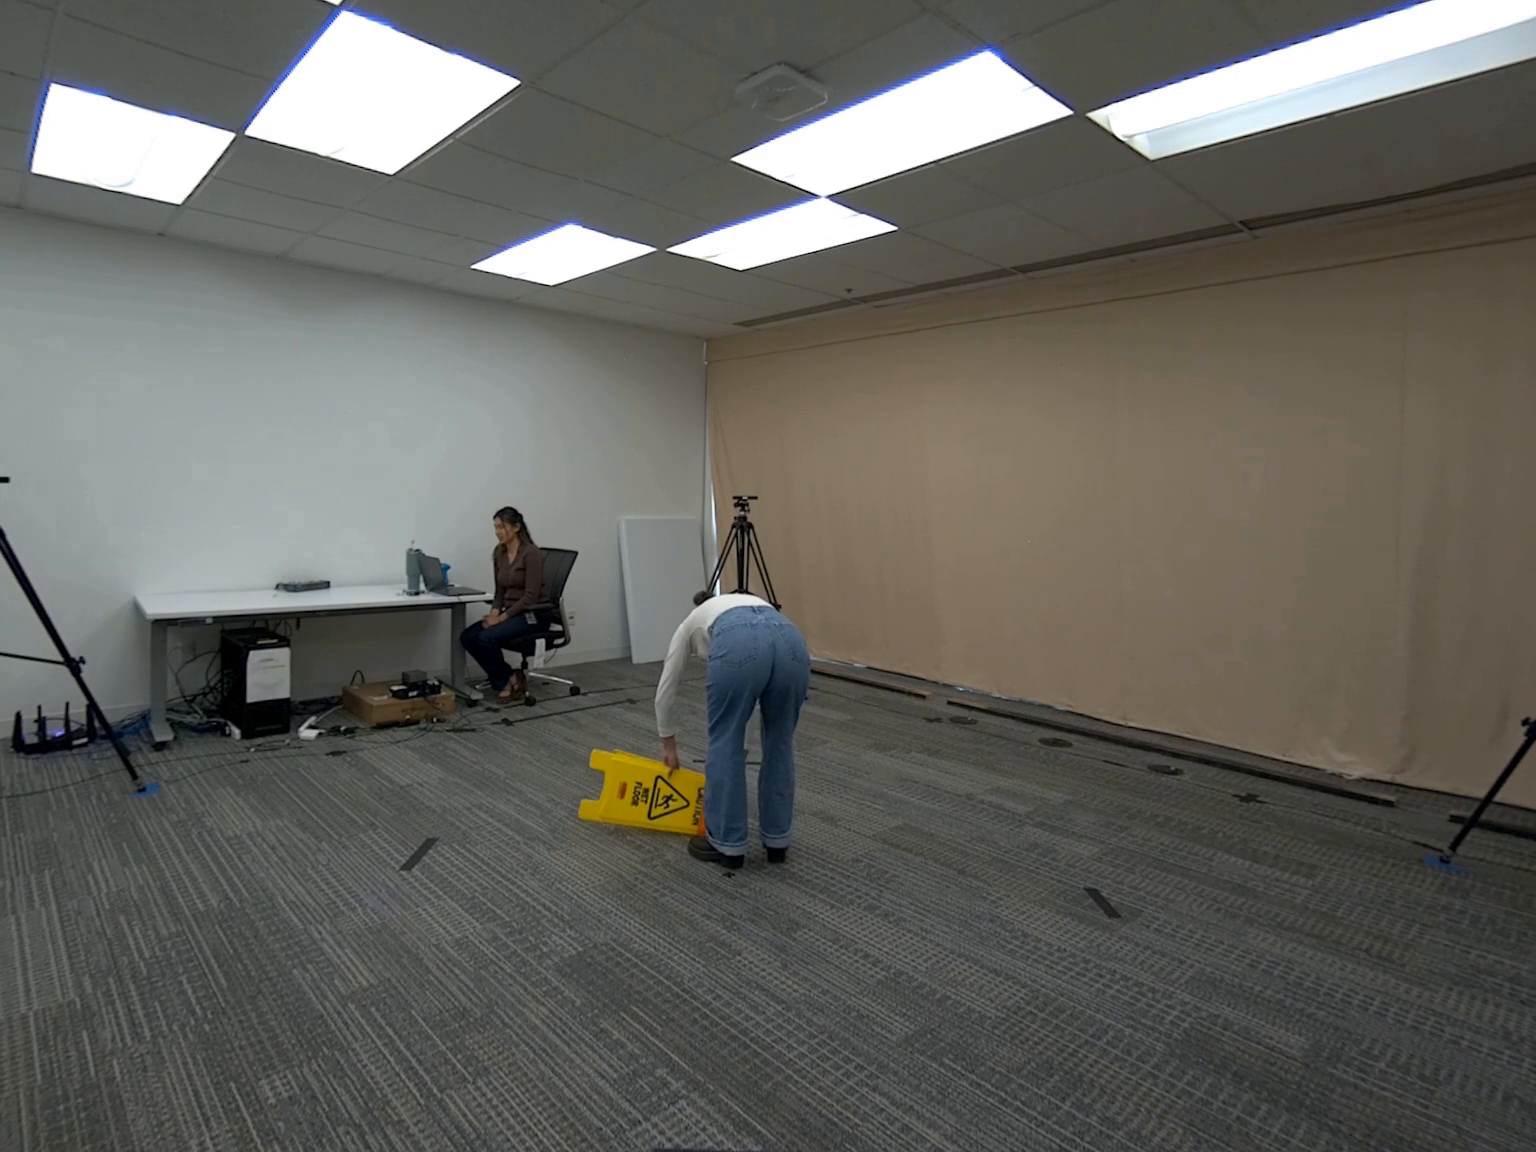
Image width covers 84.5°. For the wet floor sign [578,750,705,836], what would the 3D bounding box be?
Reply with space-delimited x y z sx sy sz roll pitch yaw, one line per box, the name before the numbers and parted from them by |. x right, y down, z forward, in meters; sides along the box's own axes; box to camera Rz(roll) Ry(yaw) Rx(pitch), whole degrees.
wet floor sign | -0.426 0.923 3.516 0.654 0.284 0.284 10 -11 13
